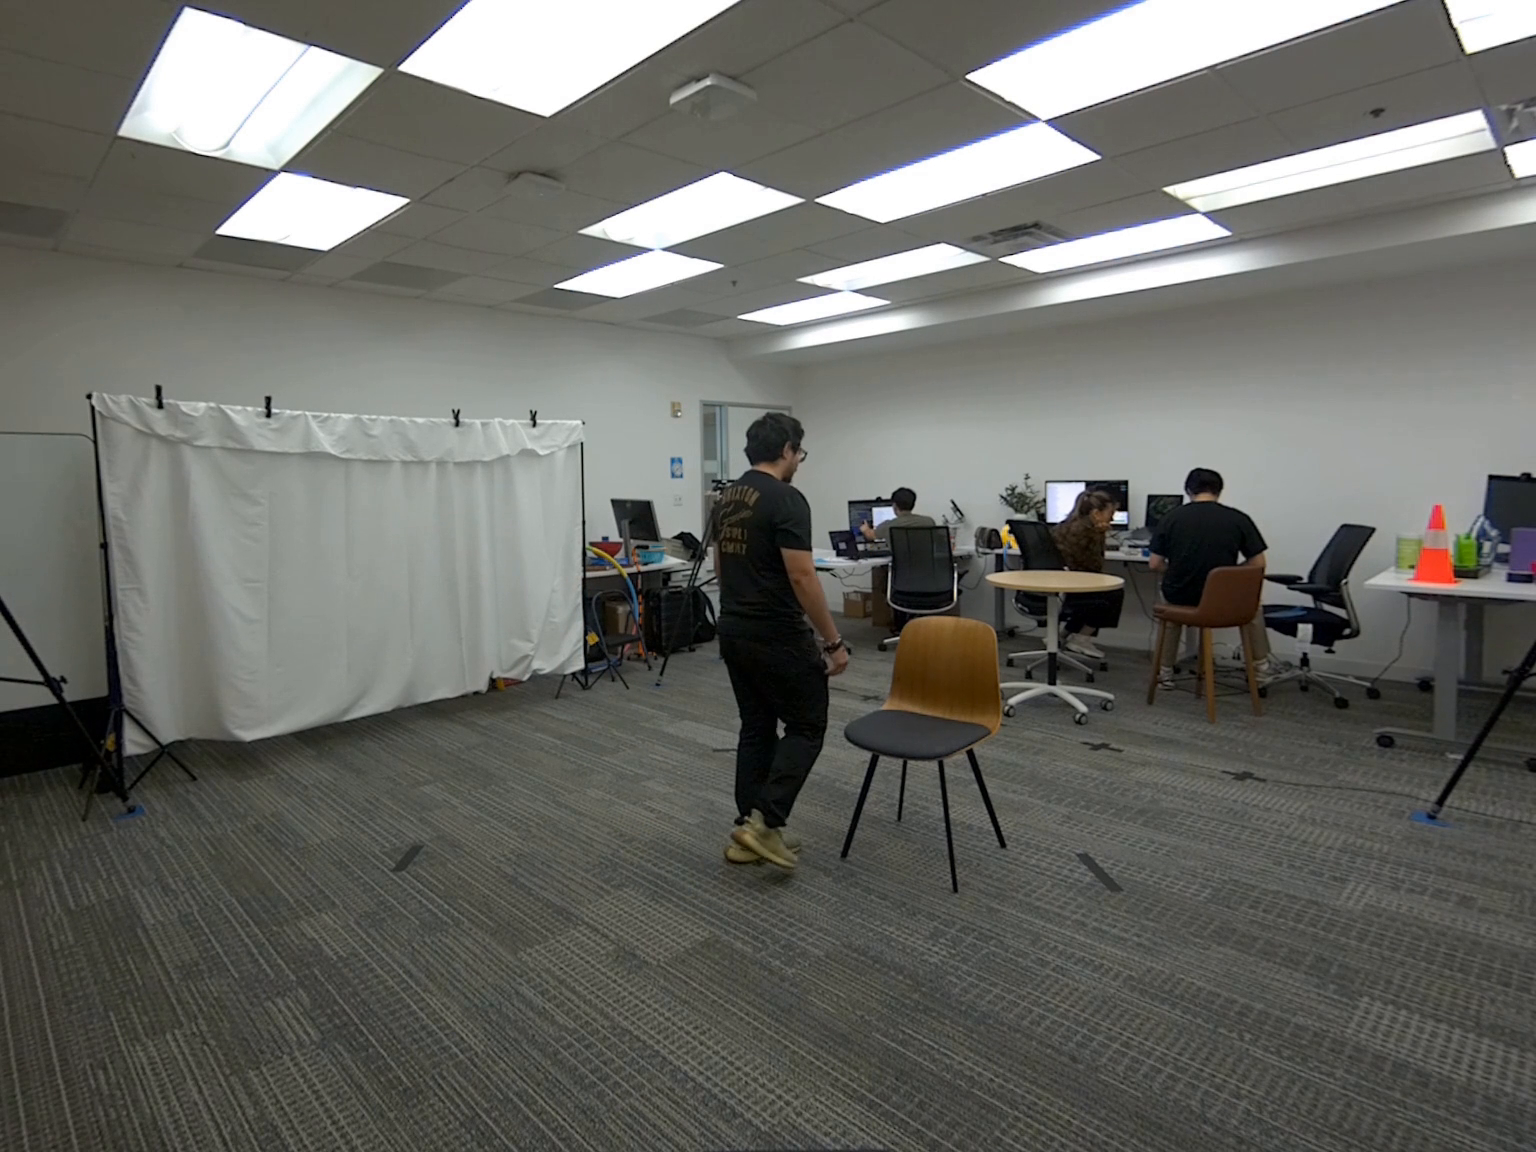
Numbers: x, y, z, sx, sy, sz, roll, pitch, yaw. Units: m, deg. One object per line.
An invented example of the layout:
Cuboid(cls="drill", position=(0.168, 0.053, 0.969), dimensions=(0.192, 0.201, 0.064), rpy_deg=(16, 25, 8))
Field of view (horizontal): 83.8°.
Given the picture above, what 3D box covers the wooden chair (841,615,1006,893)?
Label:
Cuboid(cls="wooden chair", position=(0.569, 0.601, 3.136), dimensions=(0.492, 0.877, 0.508), rpy_deg=(3, 1, 38))
